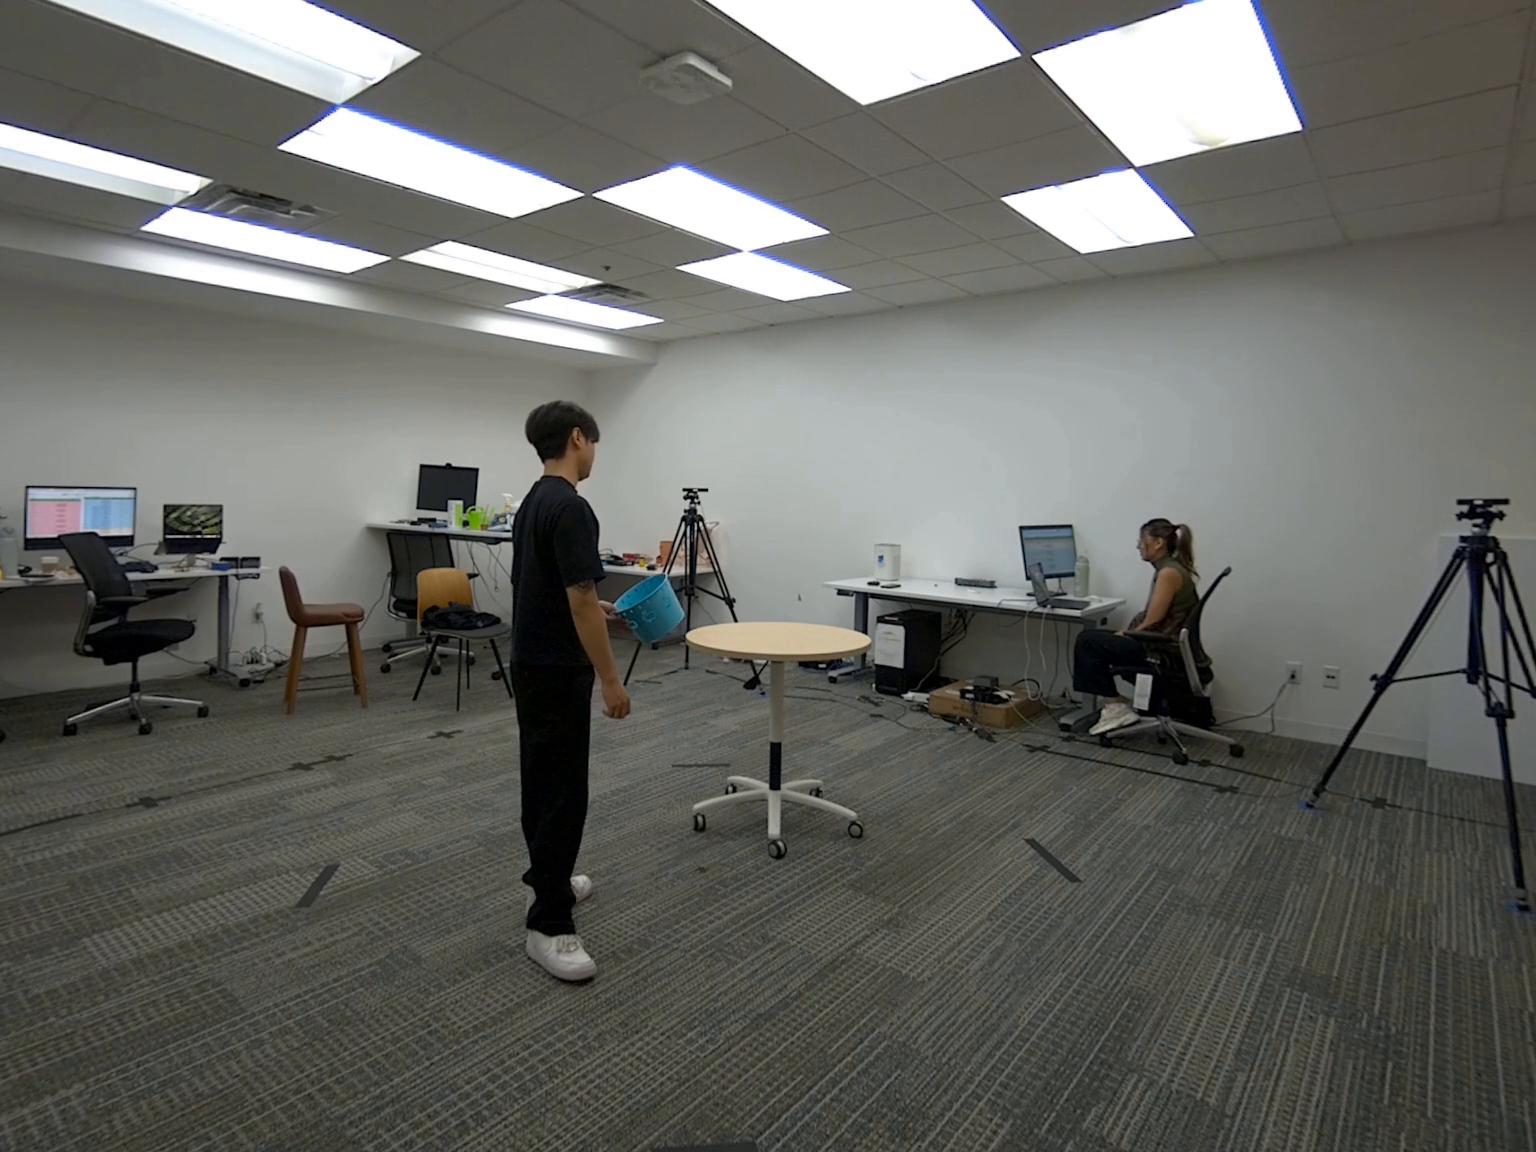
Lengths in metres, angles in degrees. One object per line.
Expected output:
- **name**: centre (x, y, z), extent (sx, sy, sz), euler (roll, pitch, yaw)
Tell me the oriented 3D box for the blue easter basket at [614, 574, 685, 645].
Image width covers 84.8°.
- **blue easter basket**: centre (-0.427, 0.115, 2.977), extent (0.244, 0.153, 0.247), euler (-30, 15, 7)
